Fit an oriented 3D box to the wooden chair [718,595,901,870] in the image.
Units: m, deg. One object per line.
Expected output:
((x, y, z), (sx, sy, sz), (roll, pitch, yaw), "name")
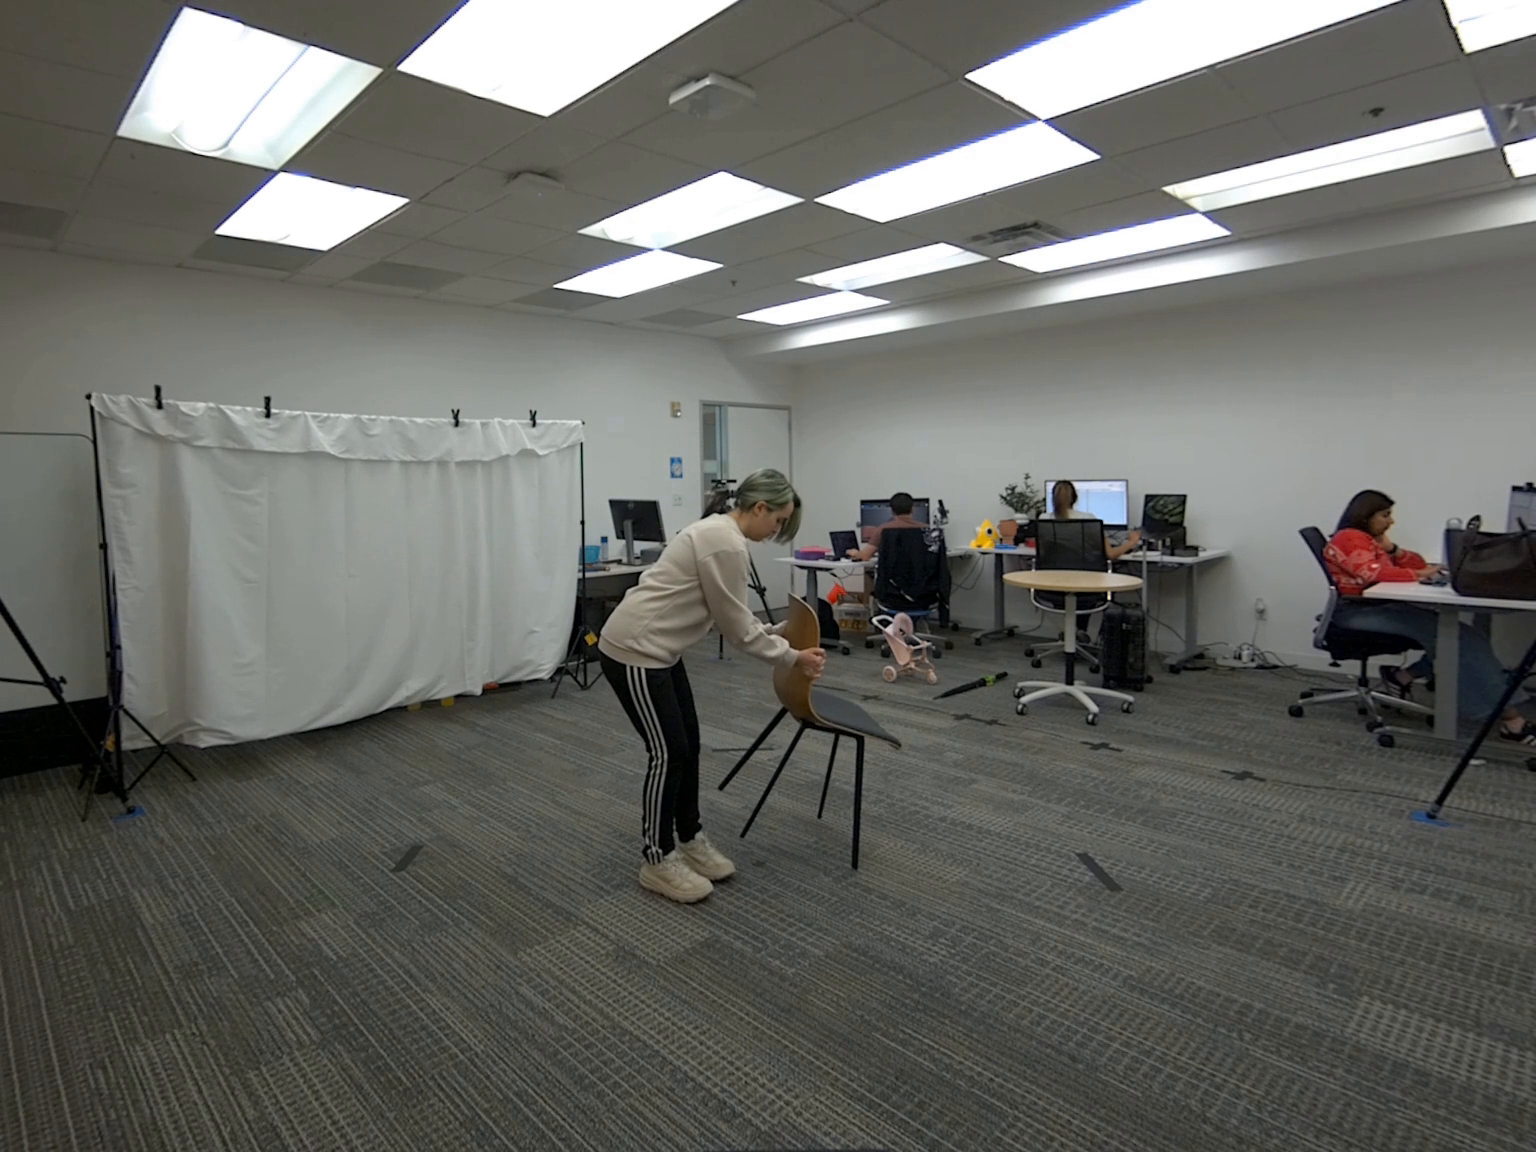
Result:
((0.209, 0.548, 3.205), (0.516, 0.876, 0.486), (14, 3, -13), "wooden chair")
